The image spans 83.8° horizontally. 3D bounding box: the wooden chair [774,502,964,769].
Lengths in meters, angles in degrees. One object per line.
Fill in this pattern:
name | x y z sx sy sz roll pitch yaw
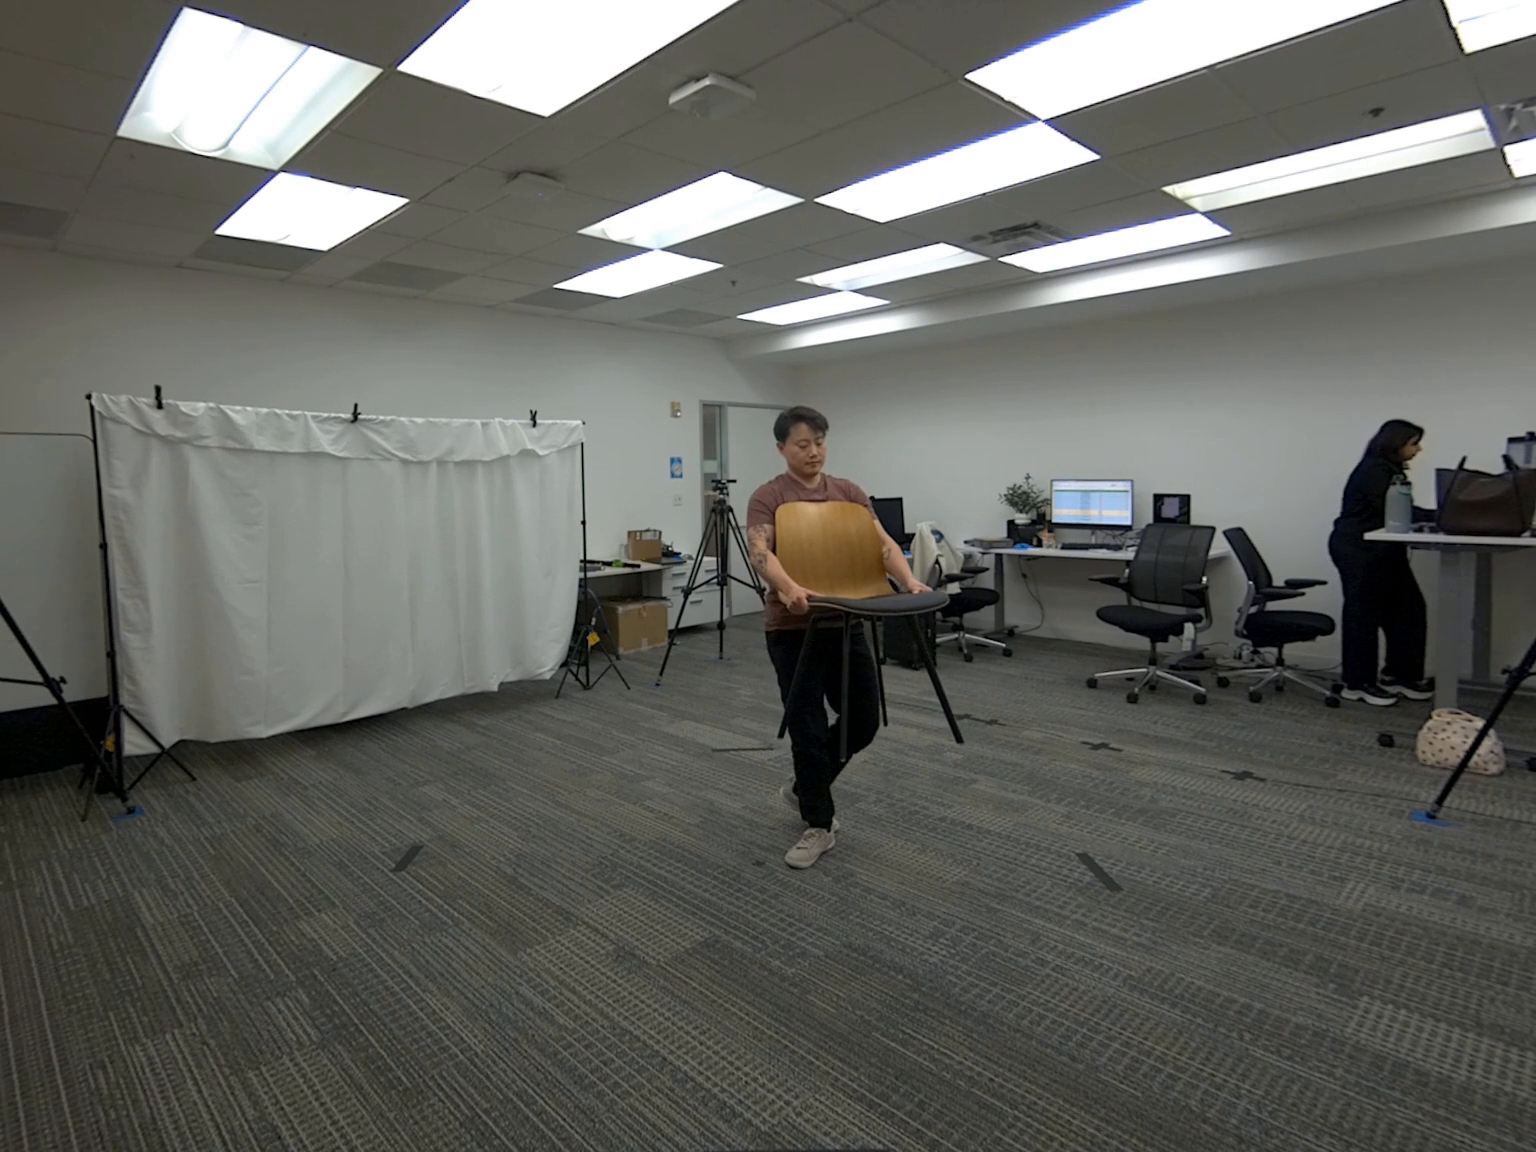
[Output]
wooden chair | 0.317 0.138 2.899 0.468 0.884 0.530 -1 -8 -24
